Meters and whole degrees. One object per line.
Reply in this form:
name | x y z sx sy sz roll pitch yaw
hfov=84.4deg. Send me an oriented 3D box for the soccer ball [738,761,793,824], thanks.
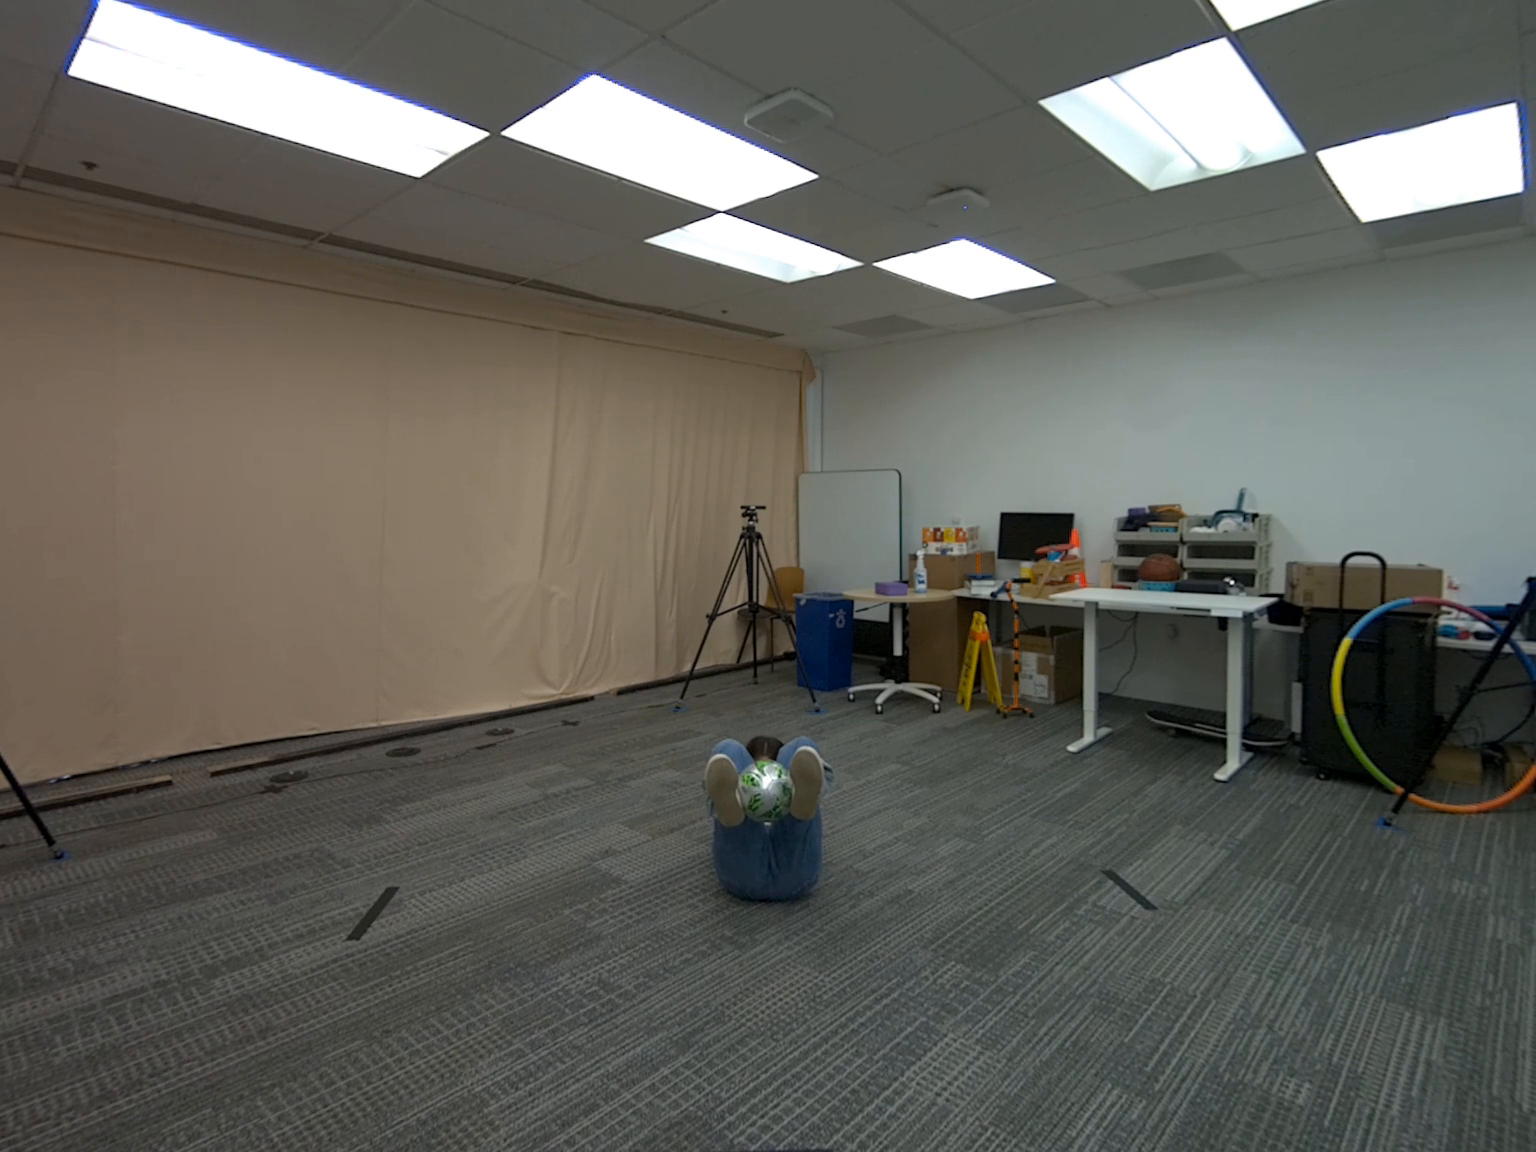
soccer ball | 0.015 0.673 2.603 0.187 0.187 0.188 3 4 -2
